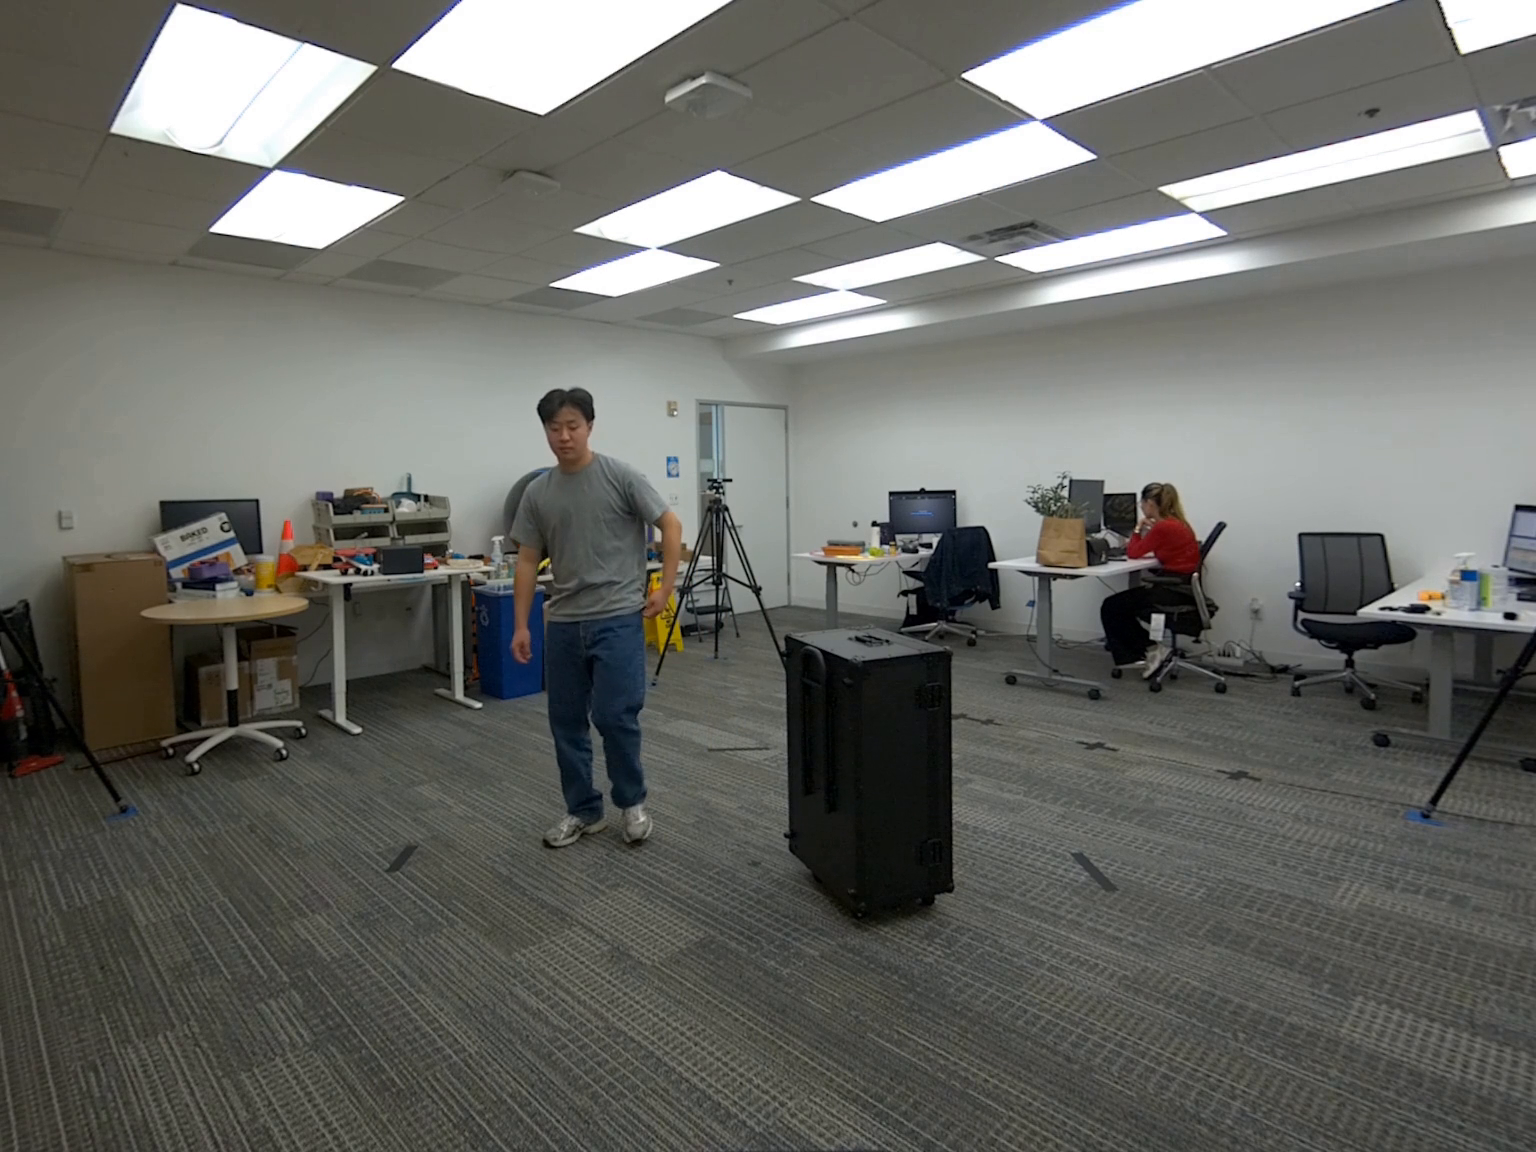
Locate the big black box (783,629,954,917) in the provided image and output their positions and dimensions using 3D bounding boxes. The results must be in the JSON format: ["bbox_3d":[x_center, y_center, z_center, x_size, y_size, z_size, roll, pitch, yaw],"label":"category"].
[{"bbox_3d":[0.324,0.641,2.848,0.389,0.858,0.533,-4,5,-23],"label":"big black box"}]
